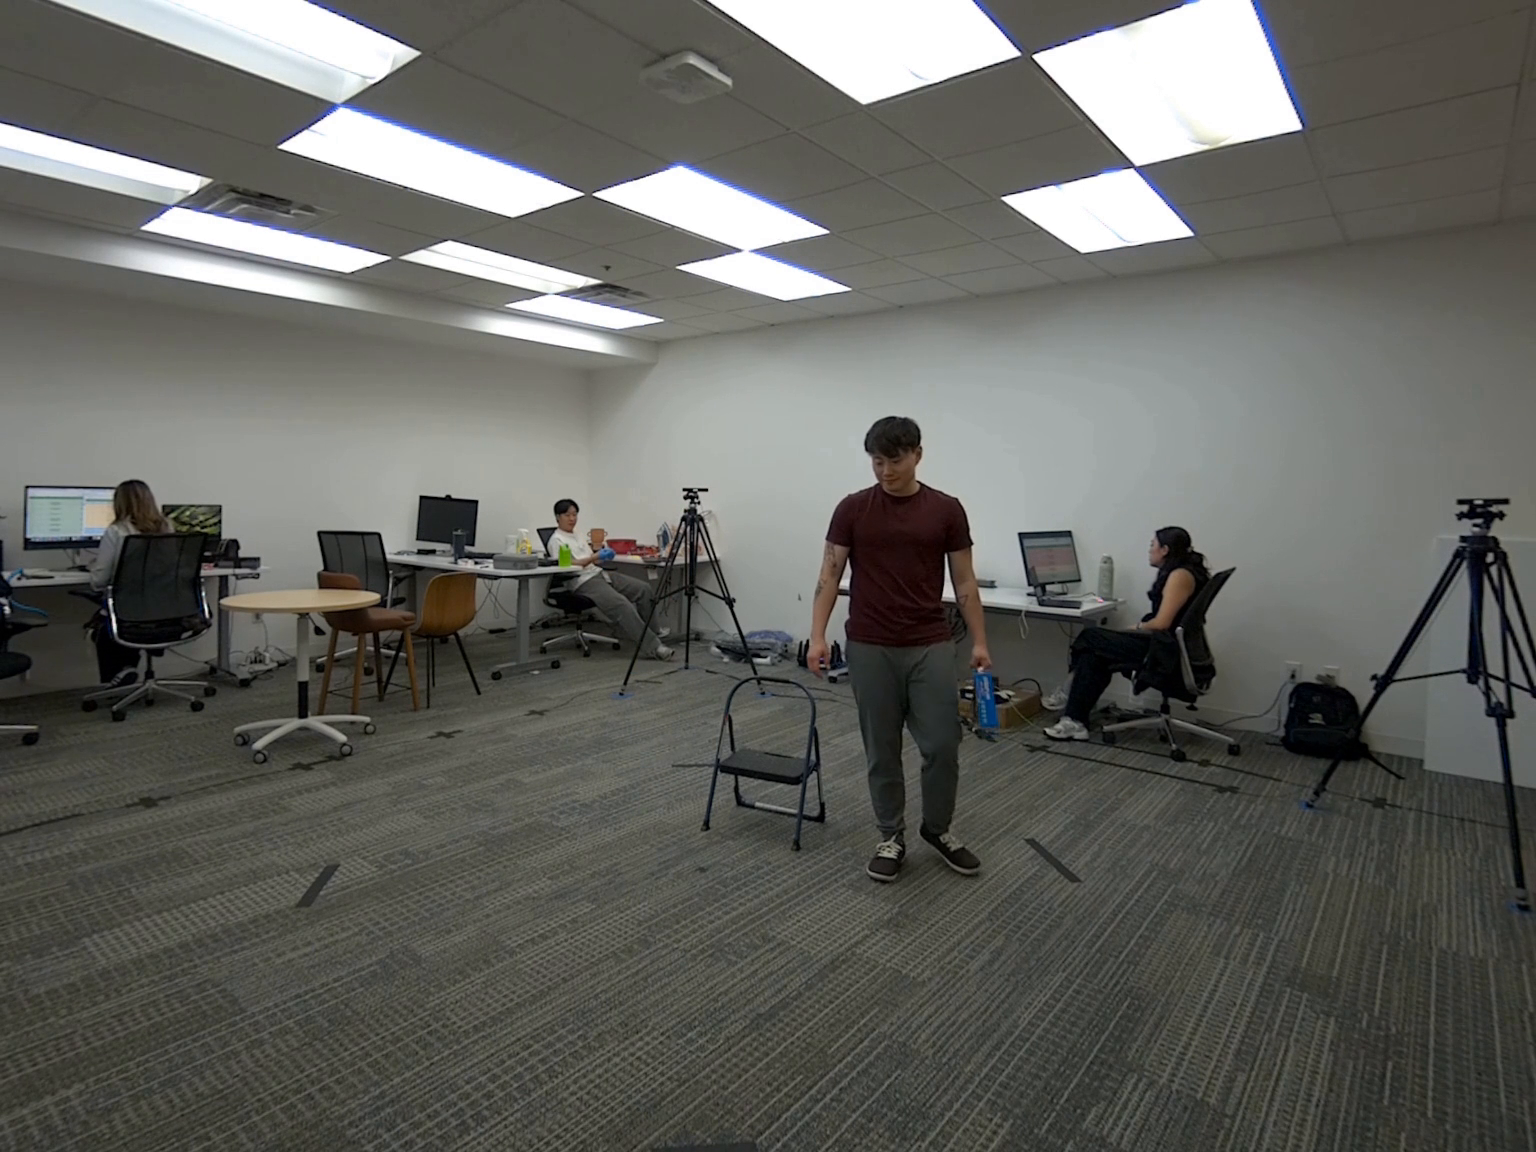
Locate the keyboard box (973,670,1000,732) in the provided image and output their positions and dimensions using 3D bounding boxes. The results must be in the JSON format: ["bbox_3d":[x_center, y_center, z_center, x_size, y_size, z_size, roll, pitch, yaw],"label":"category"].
[{"bbox_3d":[0.752,0.431,3.031,0.060,0.177,0.428,-4,-8,9],"label":"keyboard box"}]
